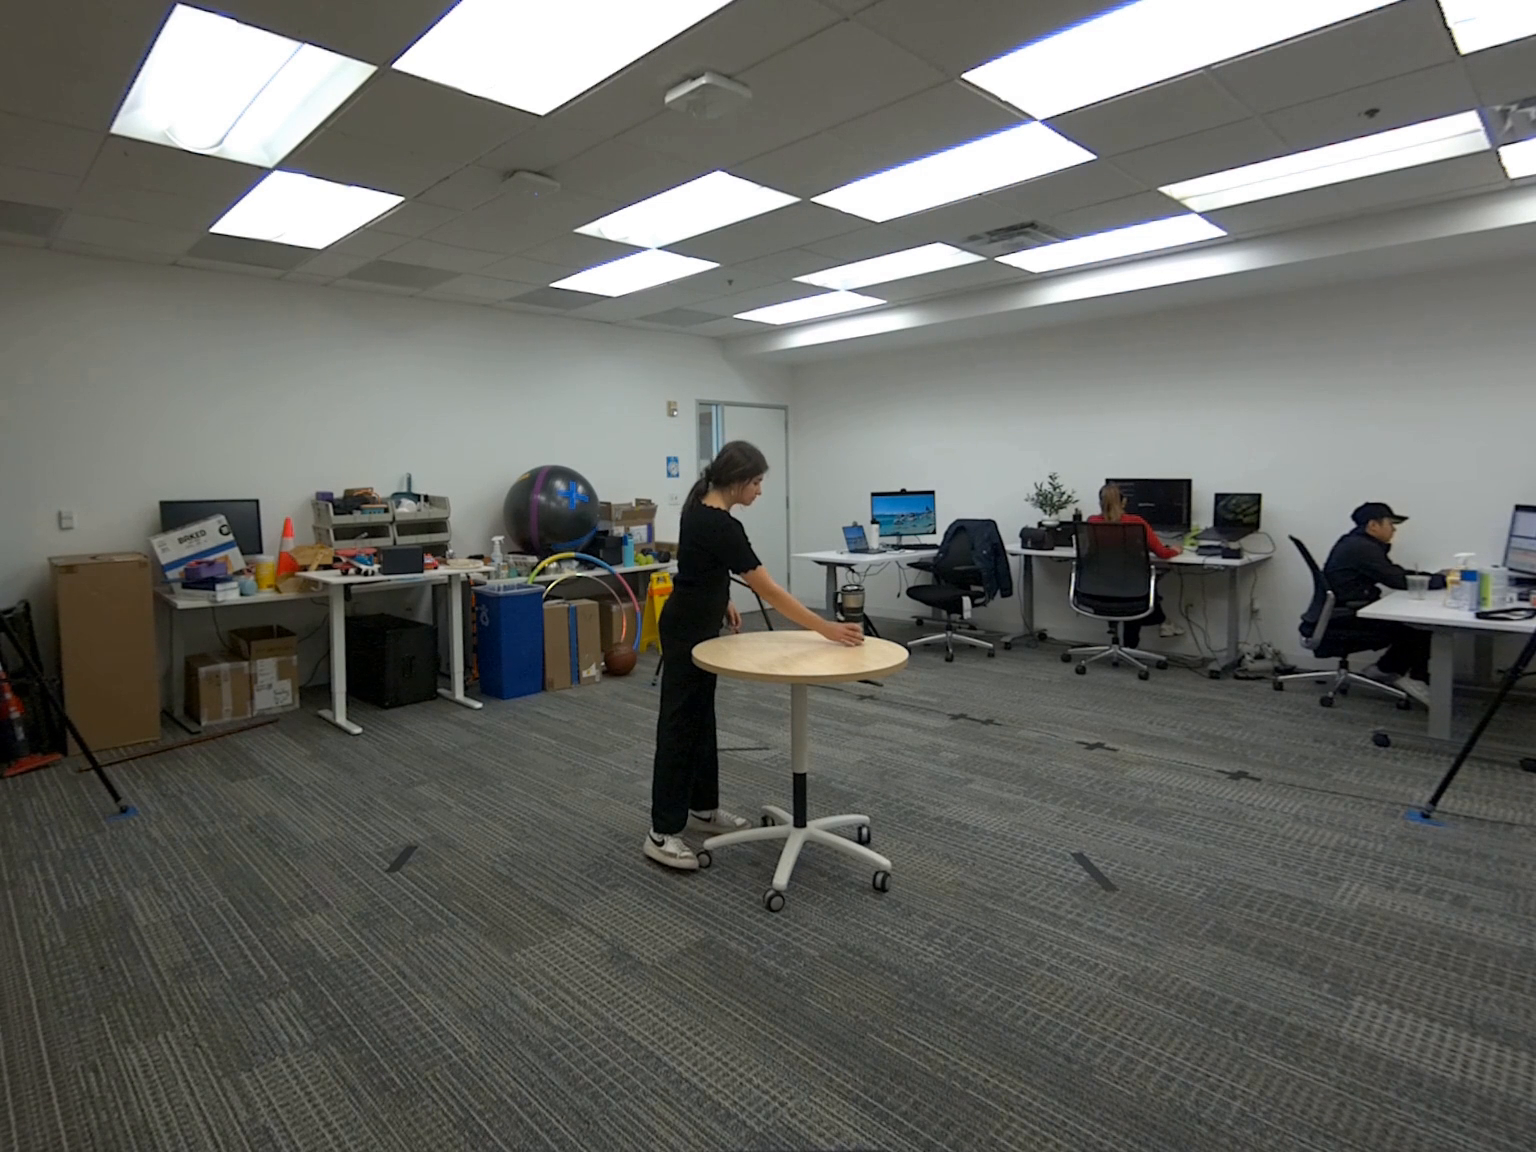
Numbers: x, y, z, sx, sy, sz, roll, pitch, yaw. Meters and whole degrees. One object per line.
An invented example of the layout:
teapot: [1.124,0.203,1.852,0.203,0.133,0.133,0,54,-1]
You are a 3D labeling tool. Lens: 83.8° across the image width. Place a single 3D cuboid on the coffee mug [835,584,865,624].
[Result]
coffee mug: [0.298,0.136,3.170,0.086,0.201,0.126,-10,13,-32]
